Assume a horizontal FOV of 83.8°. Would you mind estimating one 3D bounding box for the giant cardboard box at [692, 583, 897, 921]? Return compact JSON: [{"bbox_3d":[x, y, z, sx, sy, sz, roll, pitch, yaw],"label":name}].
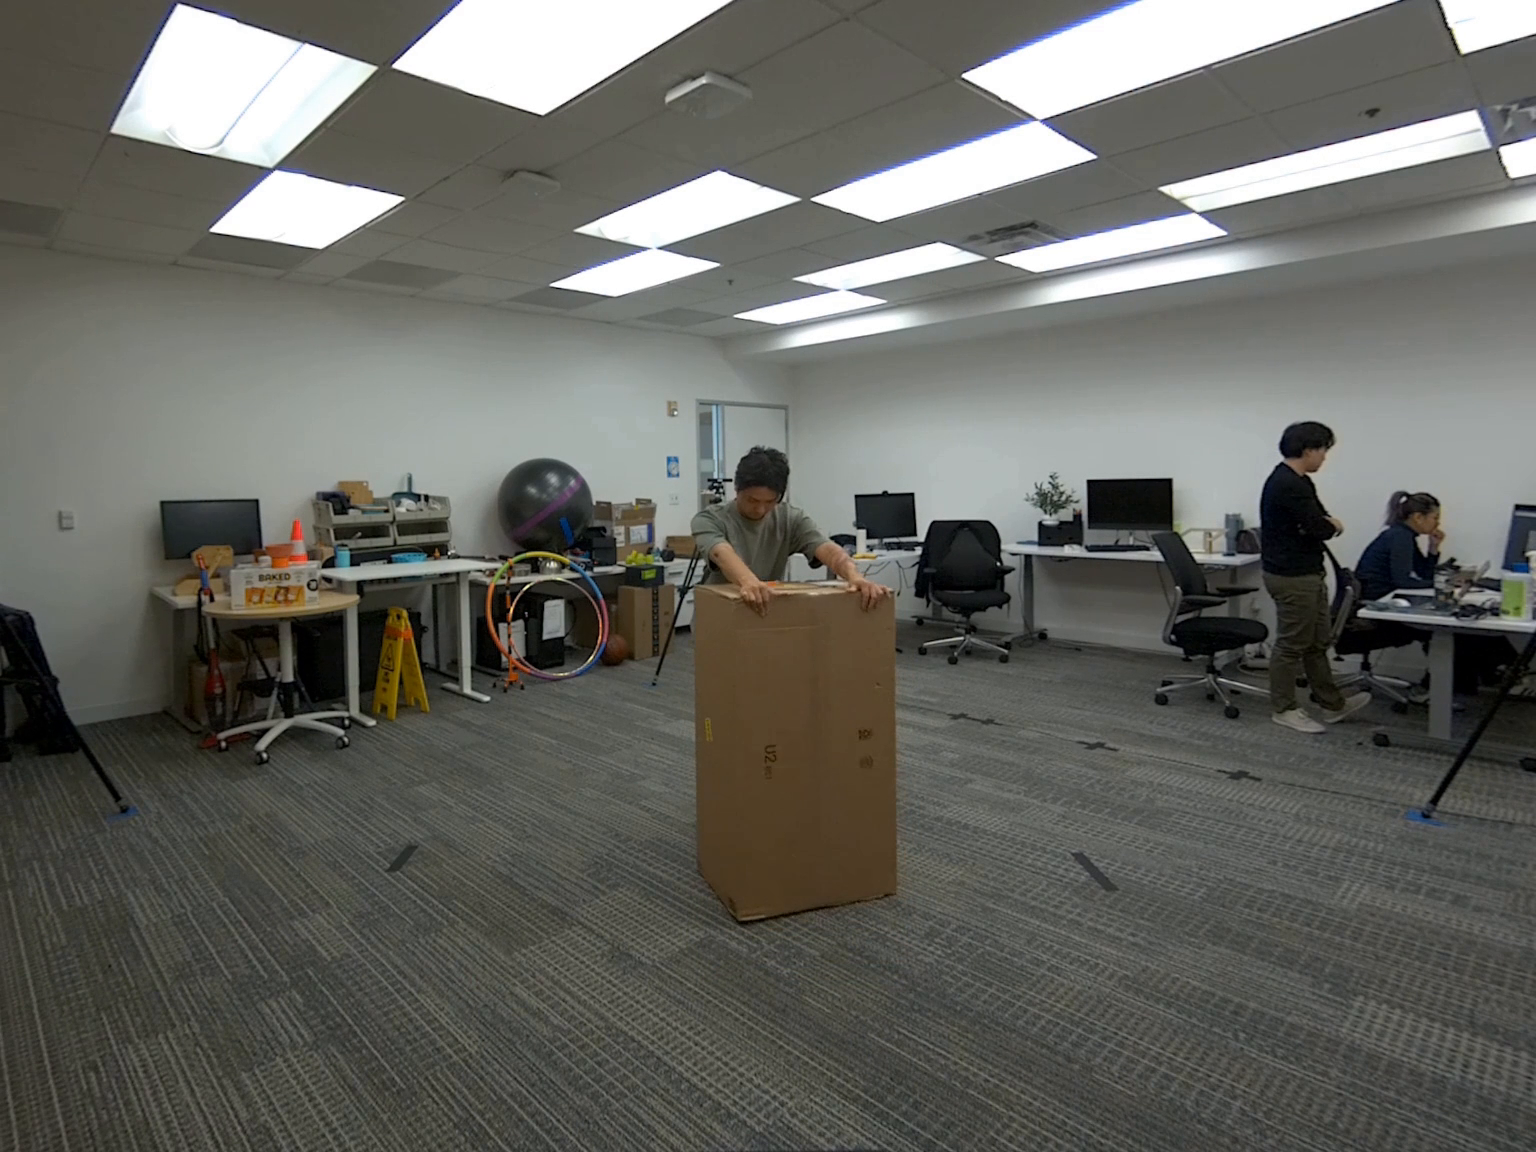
[{"bbox_3d":[0.088,0.548,2.946,0.567,1.023,0.435,-2,3,-21],"label":"giant cardboard box"}]
